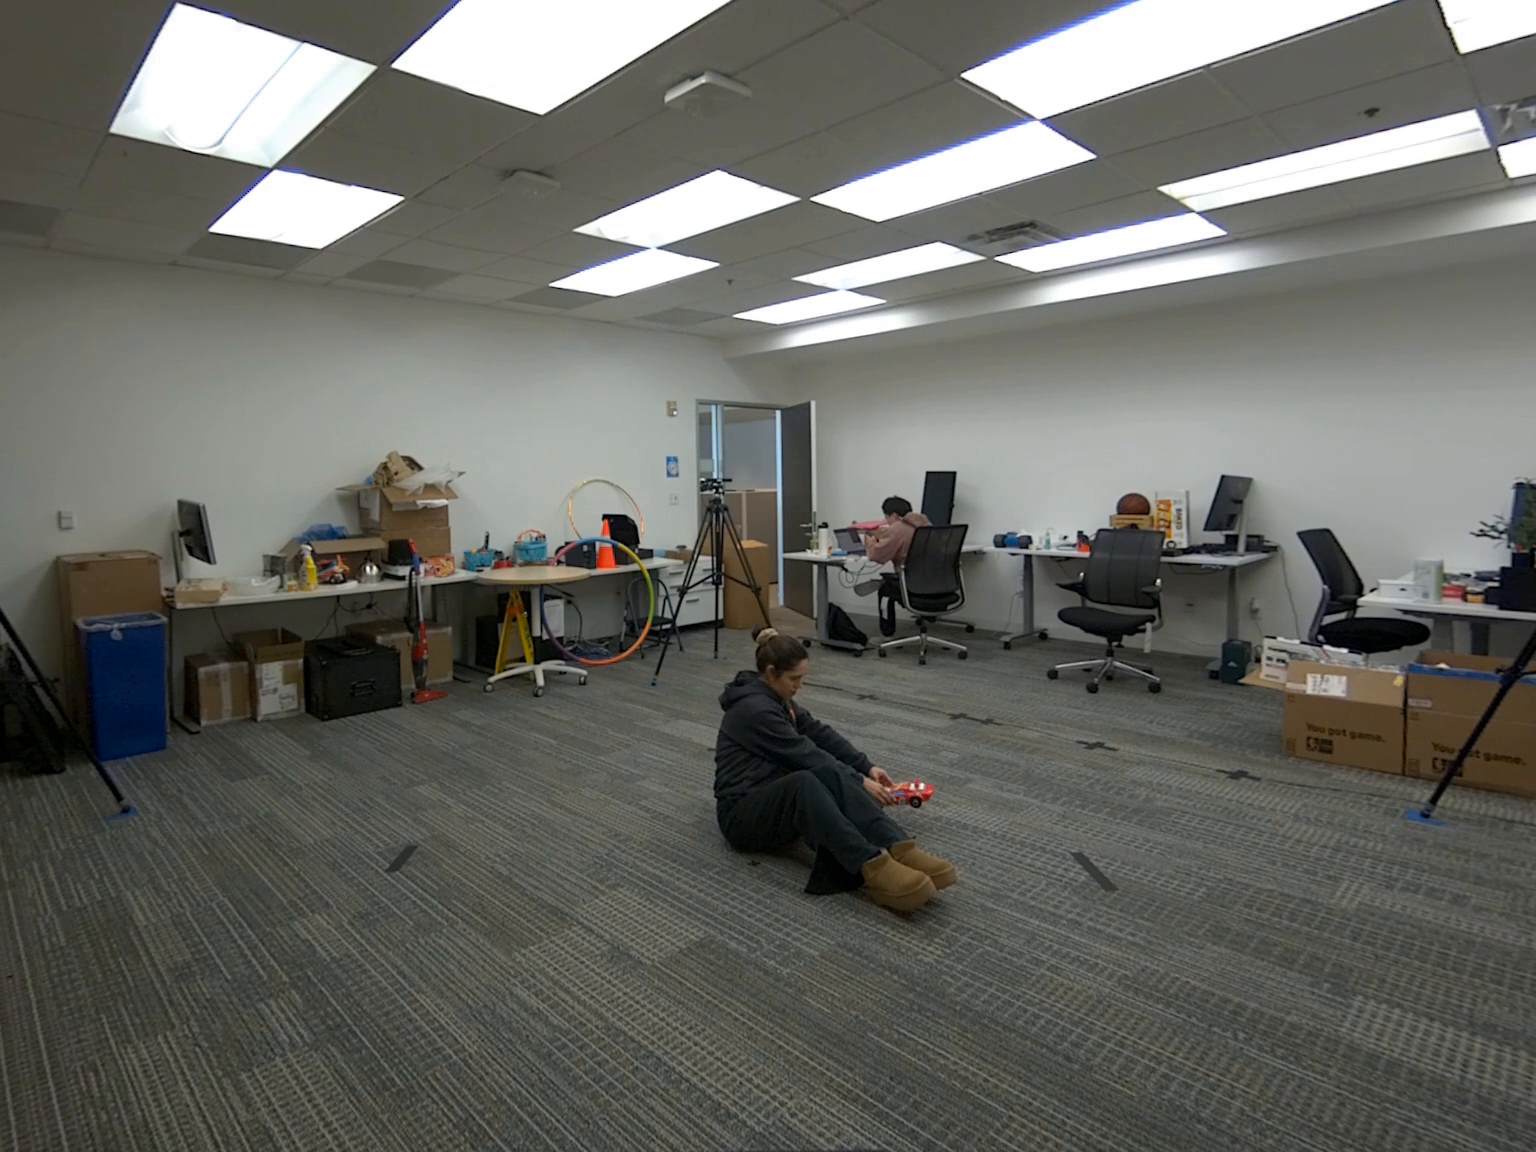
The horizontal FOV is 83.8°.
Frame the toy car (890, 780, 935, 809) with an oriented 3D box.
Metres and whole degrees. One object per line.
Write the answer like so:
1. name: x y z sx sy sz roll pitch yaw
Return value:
1. toy car: 0.532 0.861 3.352 0.257 0.083 0.129 -20 3 19
